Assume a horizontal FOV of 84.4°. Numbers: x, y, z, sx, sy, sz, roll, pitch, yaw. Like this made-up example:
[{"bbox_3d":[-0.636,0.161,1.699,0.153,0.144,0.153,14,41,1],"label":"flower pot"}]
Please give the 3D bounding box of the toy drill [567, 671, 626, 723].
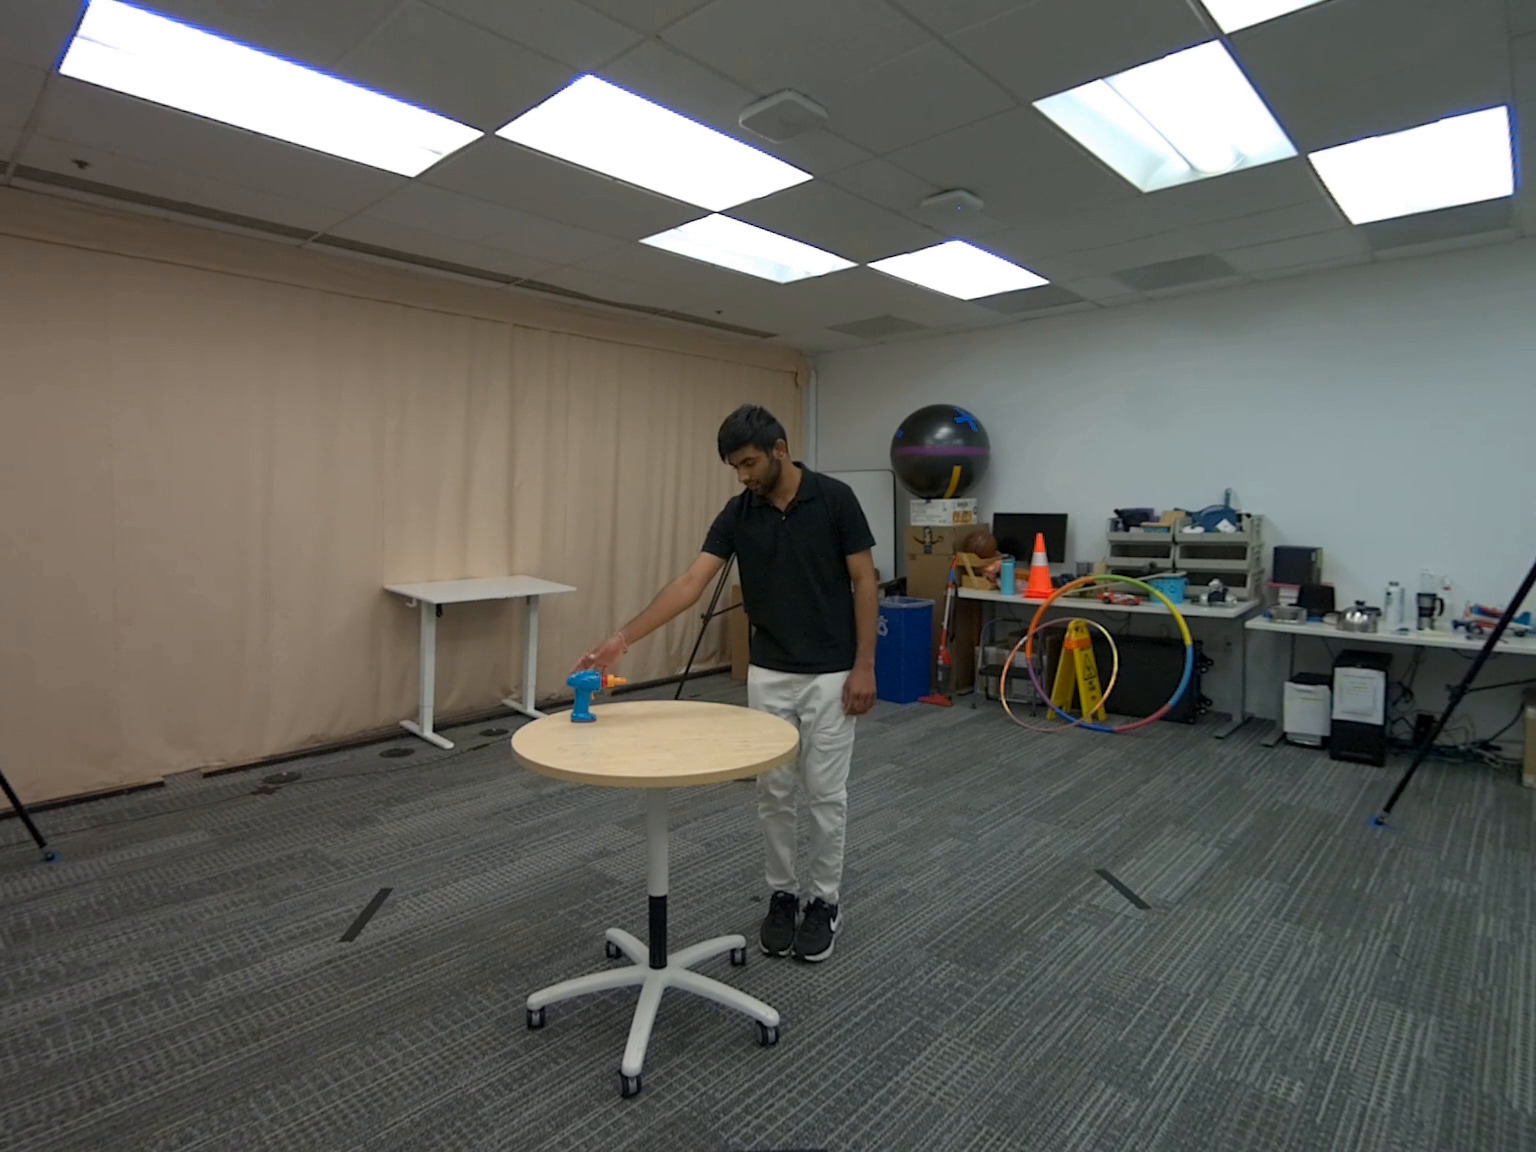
[{"bbox_3d":[-0.482,0.340,2.398,0.168,0.146,0.062,0,-1,-10],"label":"toy drill"}]
